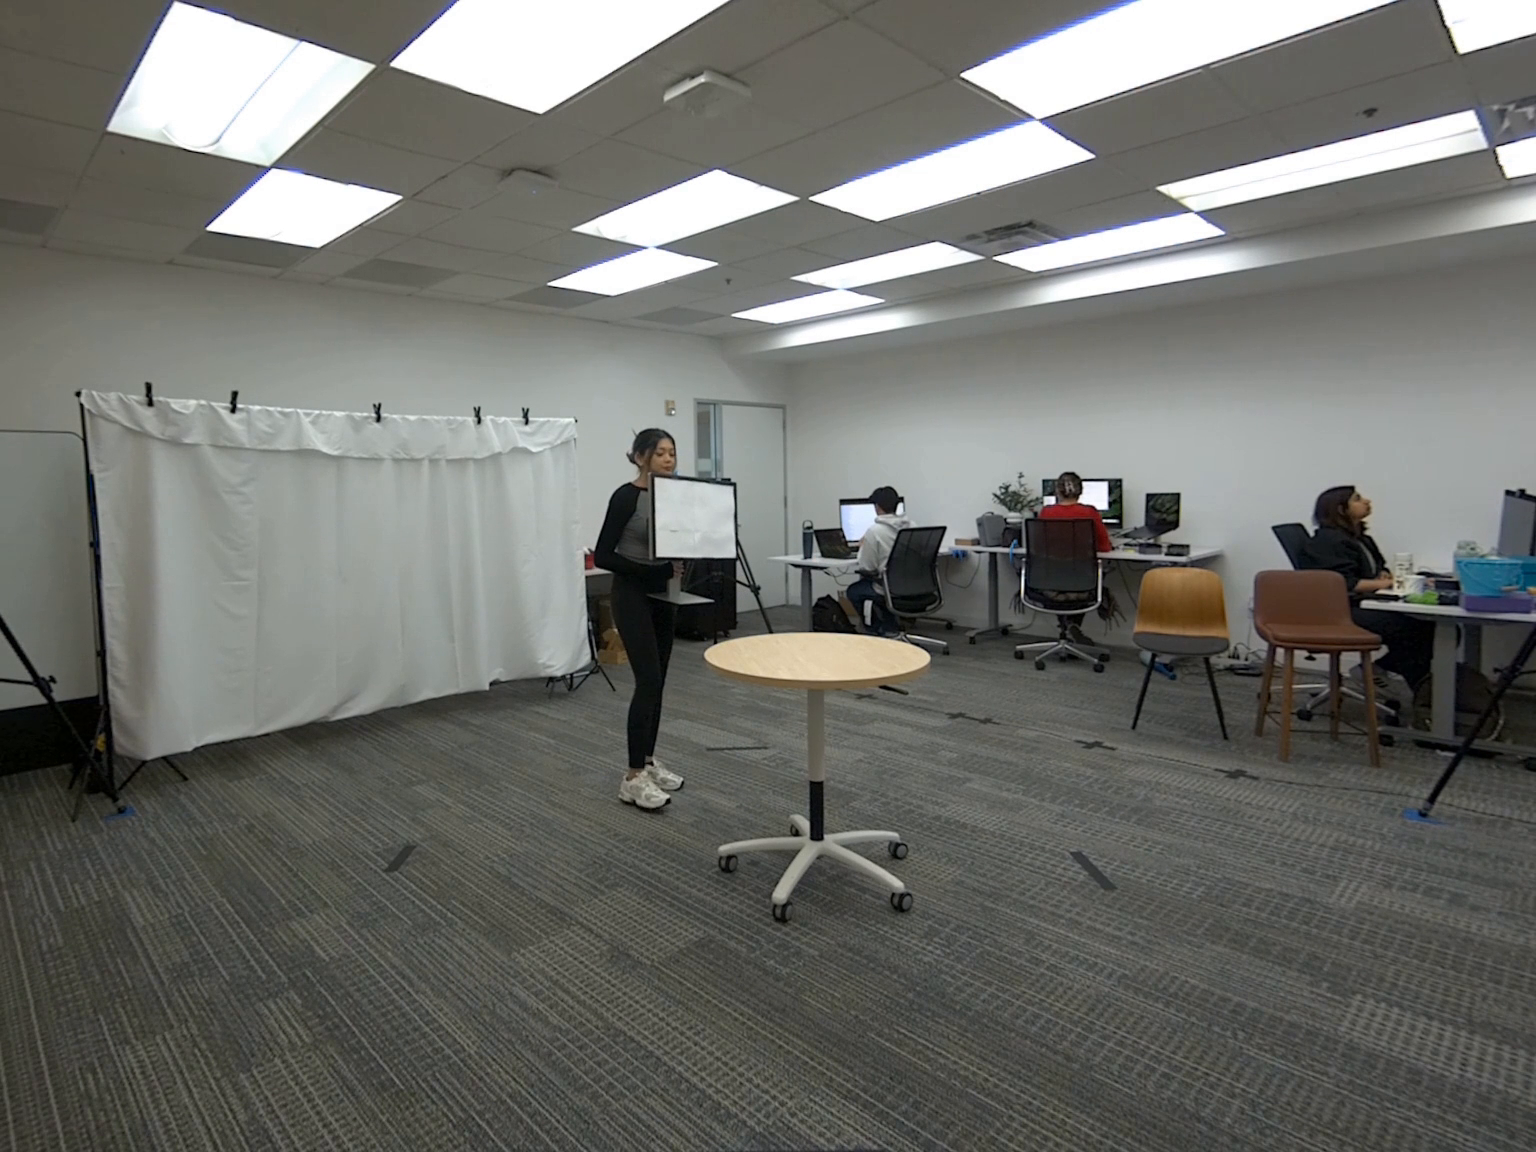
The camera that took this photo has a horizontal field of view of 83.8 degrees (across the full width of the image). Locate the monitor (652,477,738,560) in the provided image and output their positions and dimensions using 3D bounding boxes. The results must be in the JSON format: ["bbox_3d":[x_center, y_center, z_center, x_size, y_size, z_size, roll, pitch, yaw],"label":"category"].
[{"bbox_3d":[-0.353,-0.161,3.732,0.193,0.520,0.524,10,6,36],"label":"monitor"}]
